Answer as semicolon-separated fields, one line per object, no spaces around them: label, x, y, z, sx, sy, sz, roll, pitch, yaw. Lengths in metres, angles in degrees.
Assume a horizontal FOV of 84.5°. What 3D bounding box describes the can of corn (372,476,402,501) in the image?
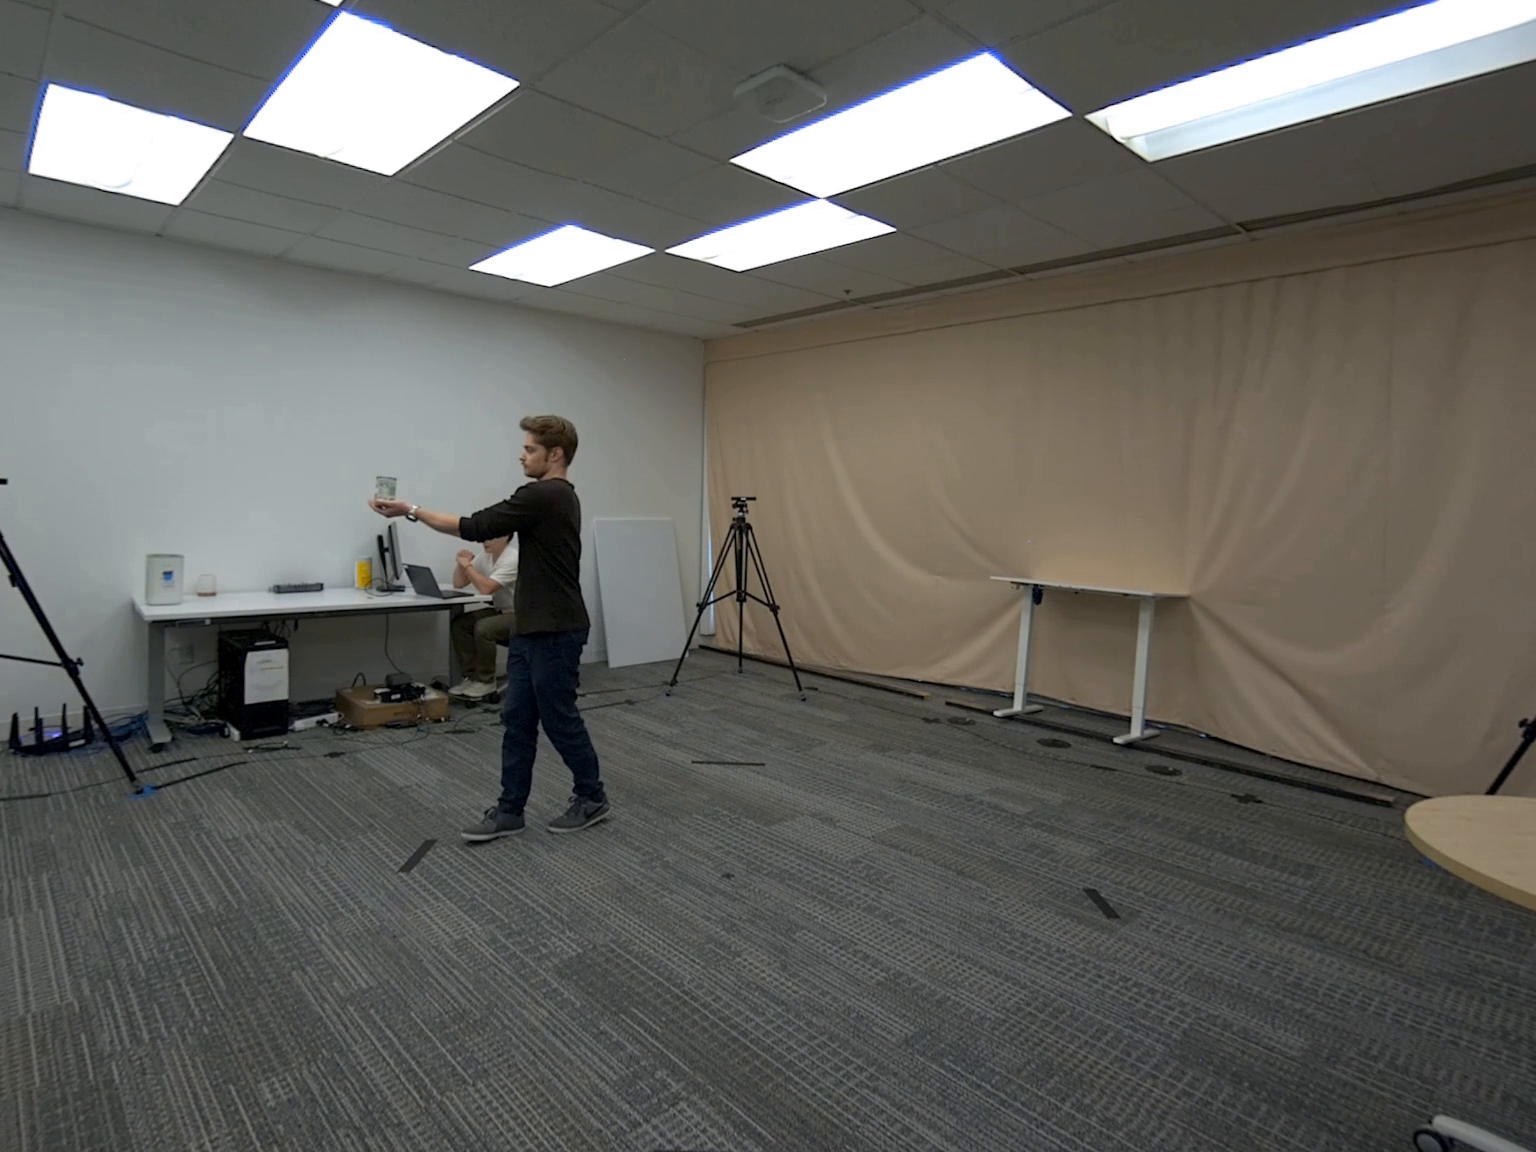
can of corn;-1.463;-0.321;3.244;0.074;0.111;0.074;6;0;-1
